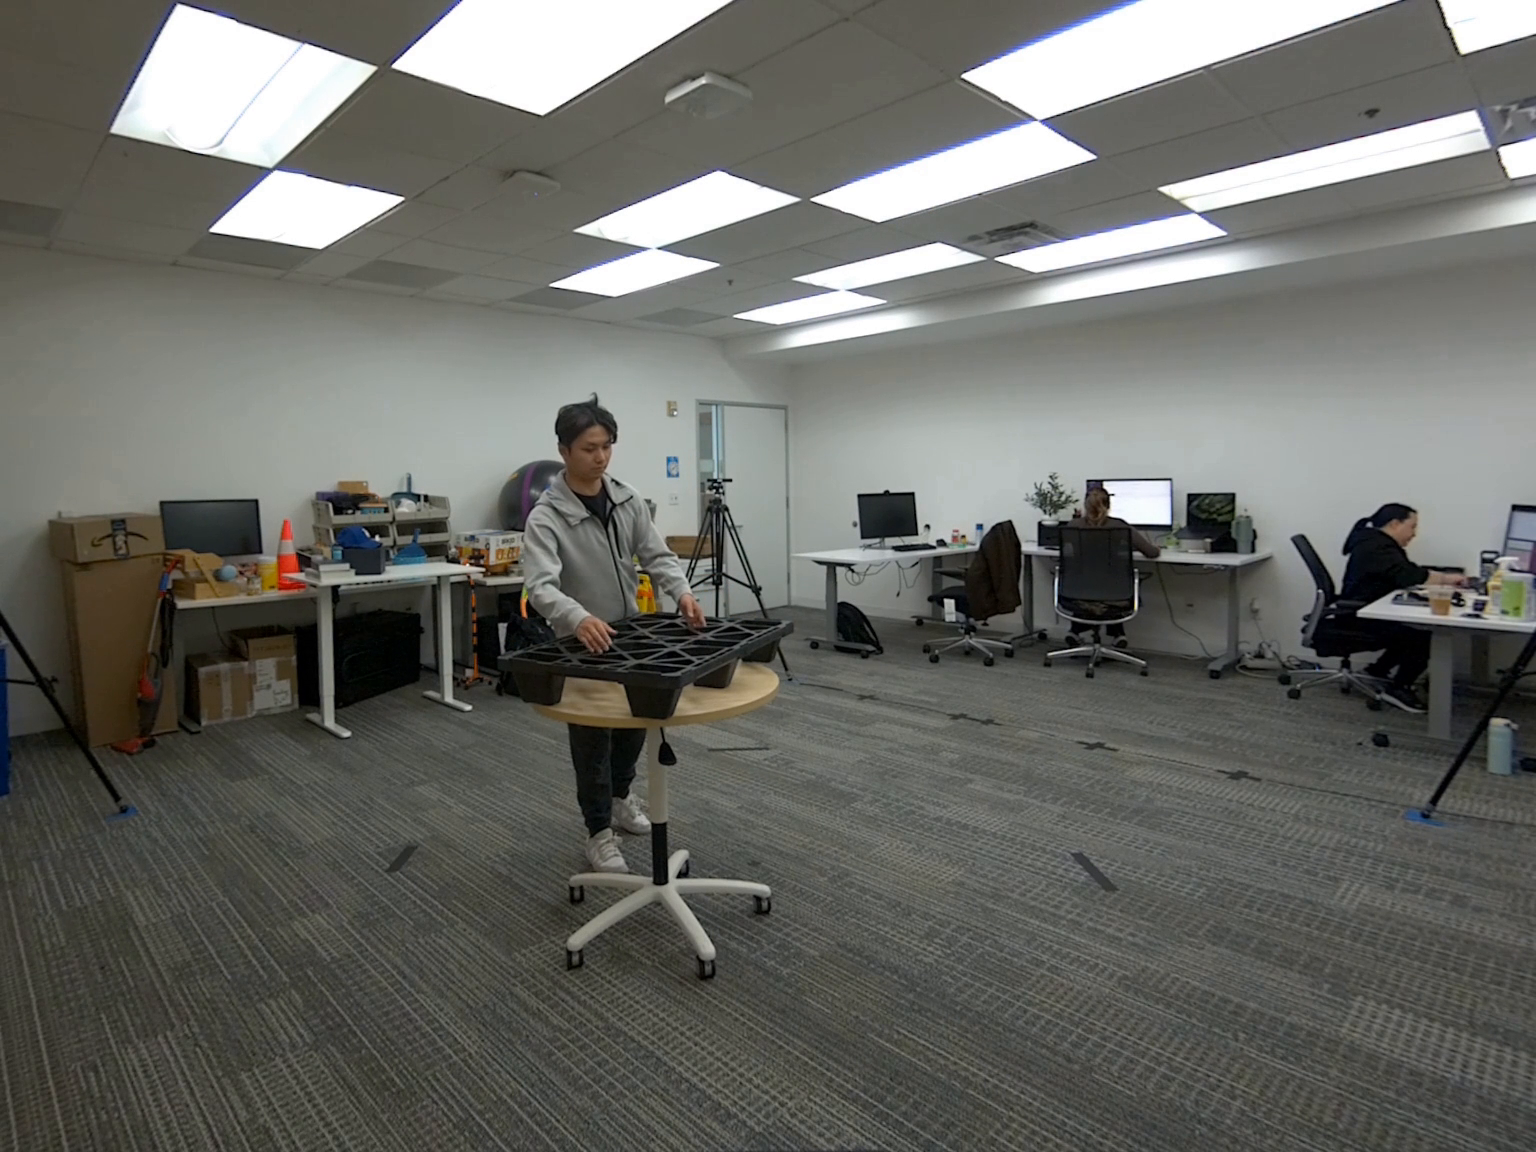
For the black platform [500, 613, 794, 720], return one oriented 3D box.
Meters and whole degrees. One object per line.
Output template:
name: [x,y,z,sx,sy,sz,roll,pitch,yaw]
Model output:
black platform: [-0.348,0.255,2.640,0.619,0.142,0.791,1,7,25]
